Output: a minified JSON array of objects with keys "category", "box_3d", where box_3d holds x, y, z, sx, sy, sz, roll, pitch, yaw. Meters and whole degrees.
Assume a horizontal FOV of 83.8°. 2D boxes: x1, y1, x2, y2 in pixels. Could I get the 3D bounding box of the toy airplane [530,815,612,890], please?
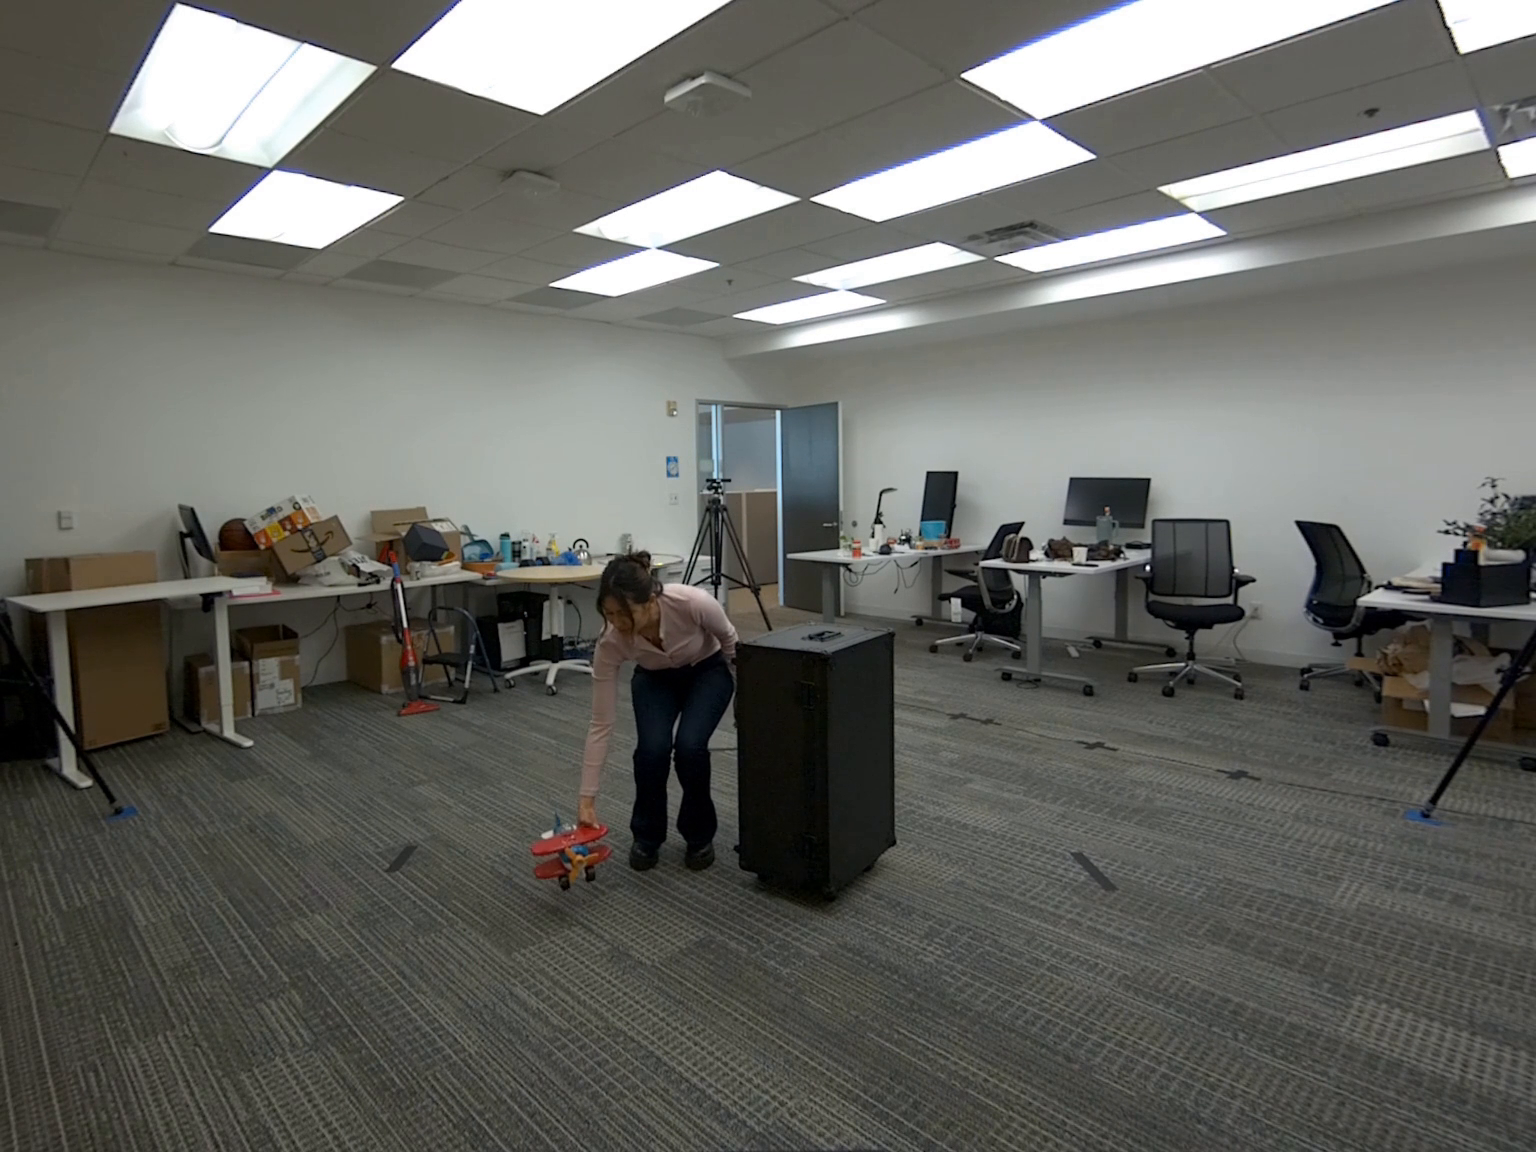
[{"category":"toy airplane","box_3d":[-0.665,0.897,2.799,0.267,0.153,0.248,17,28,30]}]
